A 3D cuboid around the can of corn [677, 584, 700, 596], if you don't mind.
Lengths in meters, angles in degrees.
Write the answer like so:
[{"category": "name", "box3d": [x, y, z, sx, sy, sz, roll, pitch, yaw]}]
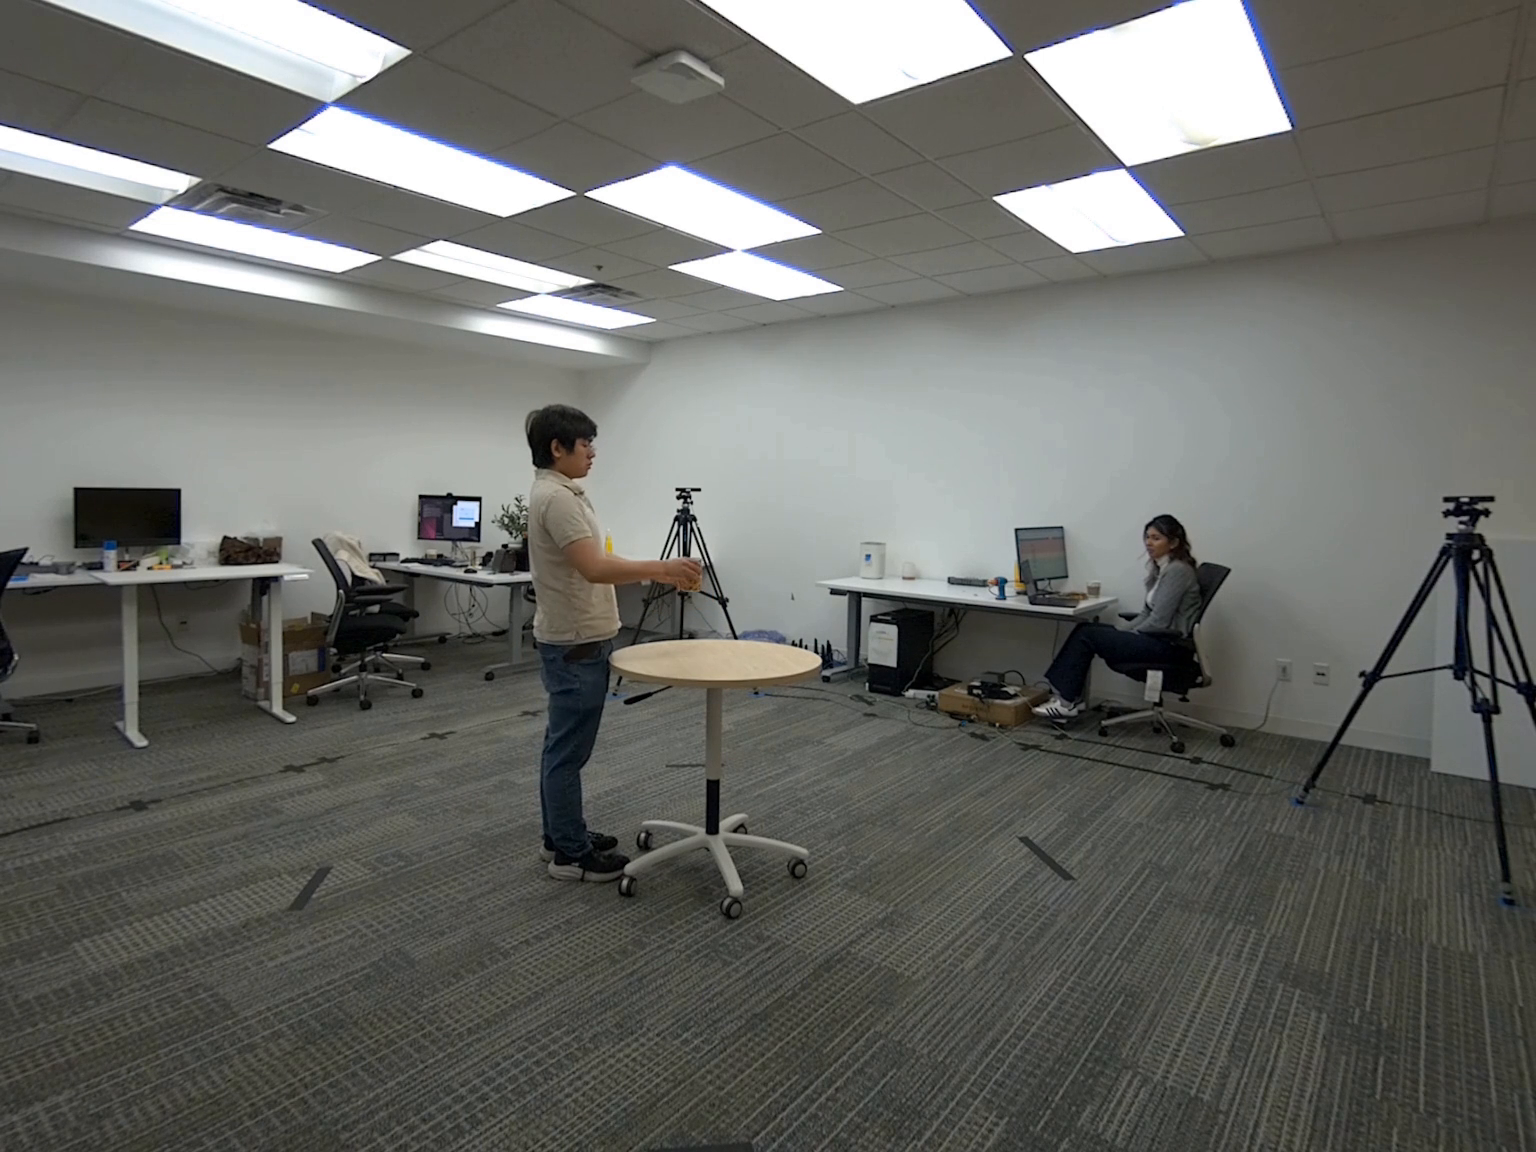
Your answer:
[{"category": "can of corn", "box3d": [-0.291, -0.003, 2.989, 0.074, 0.111, 0.074, 0, 4, -2]}]
